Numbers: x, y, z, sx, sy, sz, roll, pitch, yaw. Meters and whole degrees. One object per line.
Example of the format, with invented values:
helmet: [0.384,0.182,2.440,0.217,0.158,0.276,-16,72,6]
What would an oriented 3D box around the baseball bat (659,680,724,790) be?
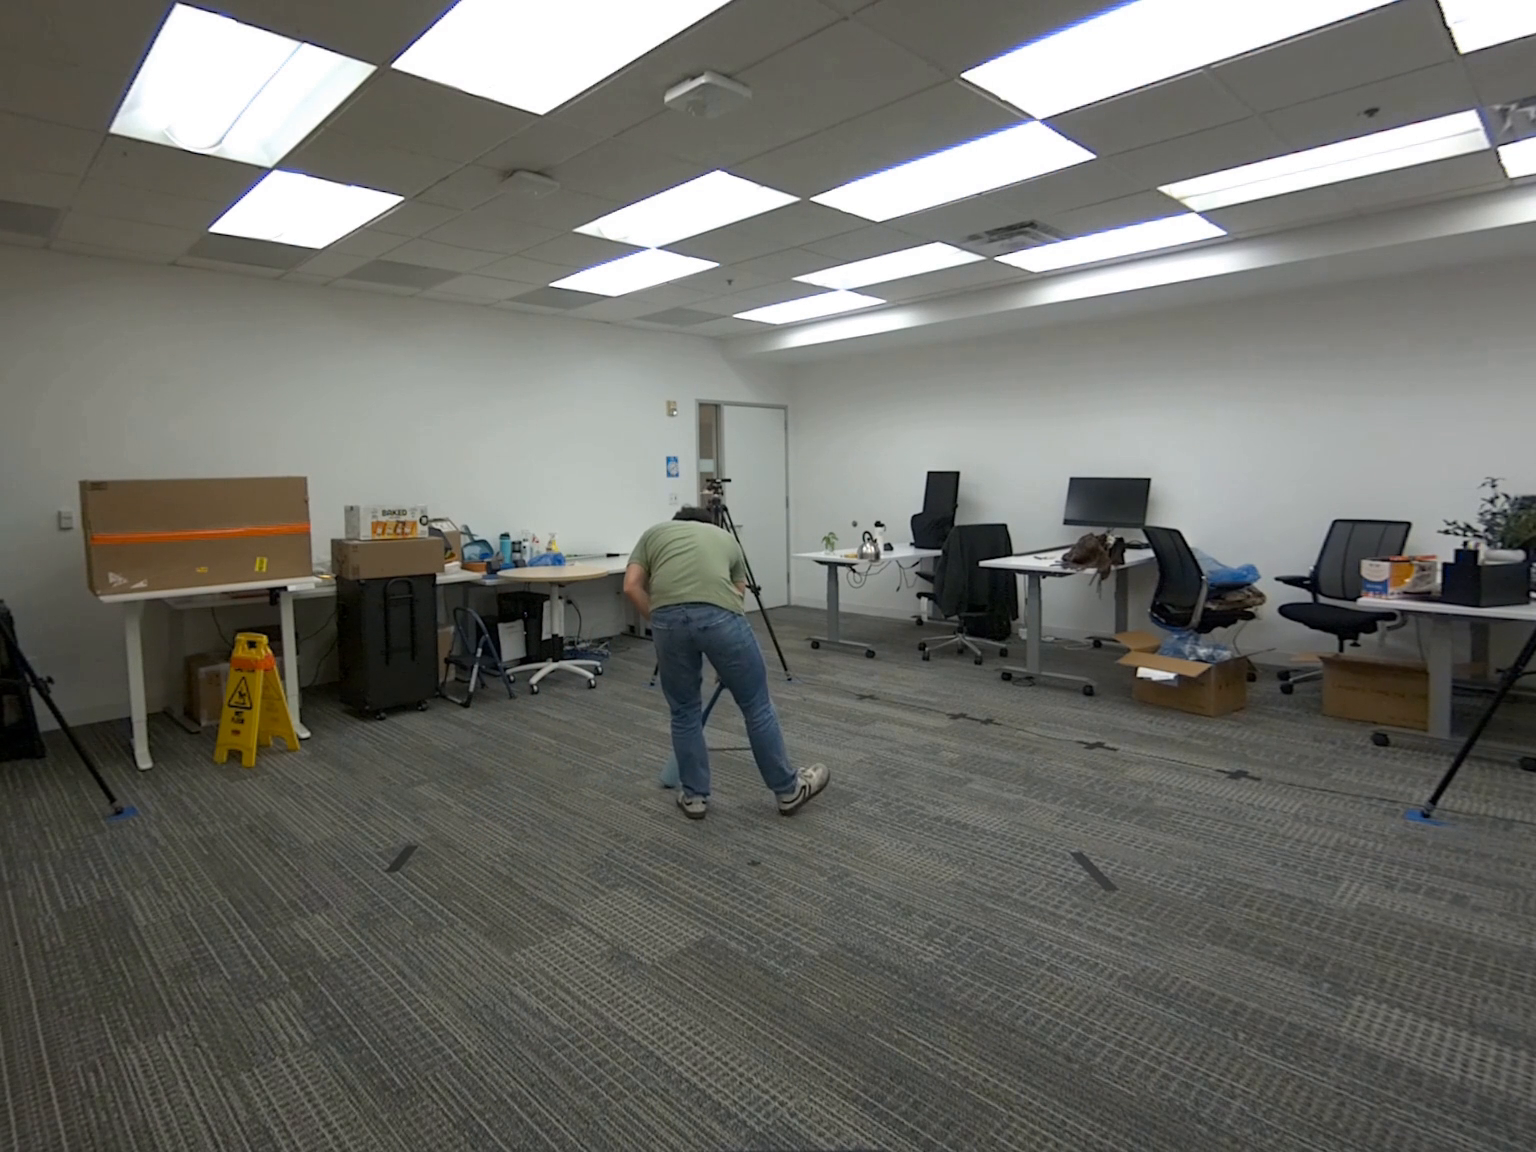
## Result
baseball bat: [-0.327,0.716,3.921,0.089,0.543,0.089,30,-3,0]
